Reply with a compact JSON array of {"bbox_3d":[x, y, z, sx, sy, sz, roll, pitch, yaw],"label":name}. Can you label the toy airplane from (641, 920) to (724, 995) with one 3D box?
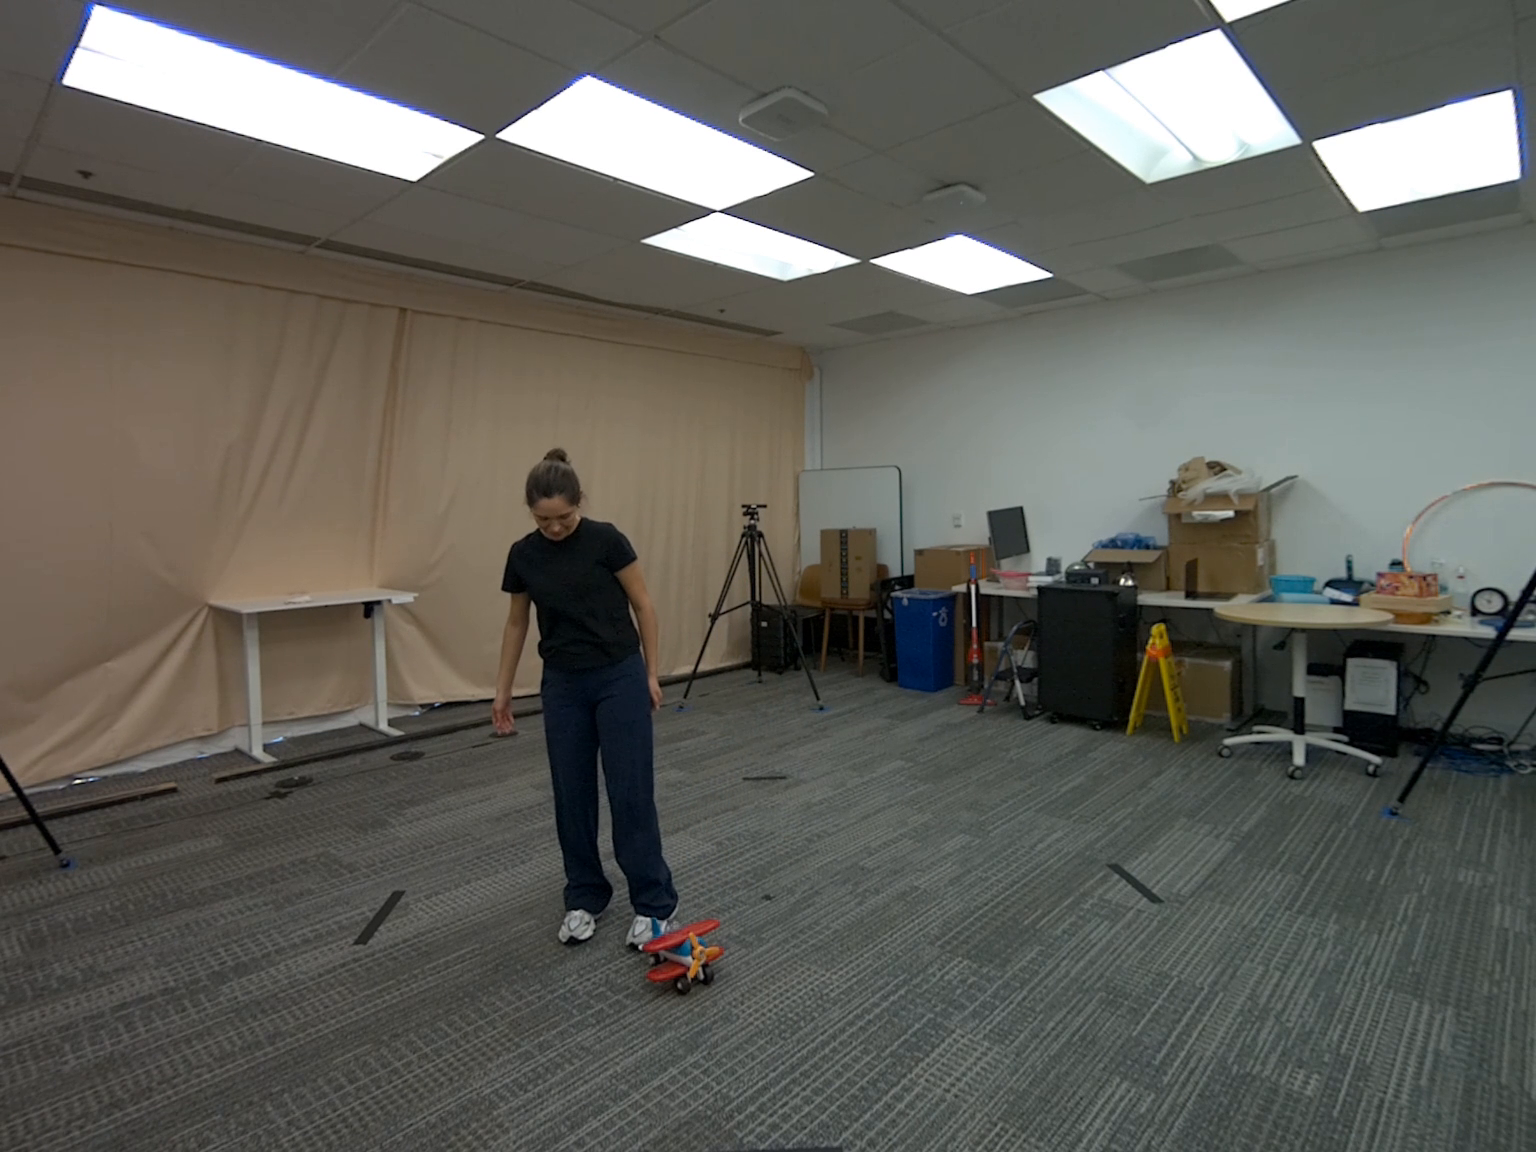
[{"bbox_3d":[-0.263,1.109,2.483,0.265,0.156,0.246,3,5,22],"label":"toy airplane"}]
